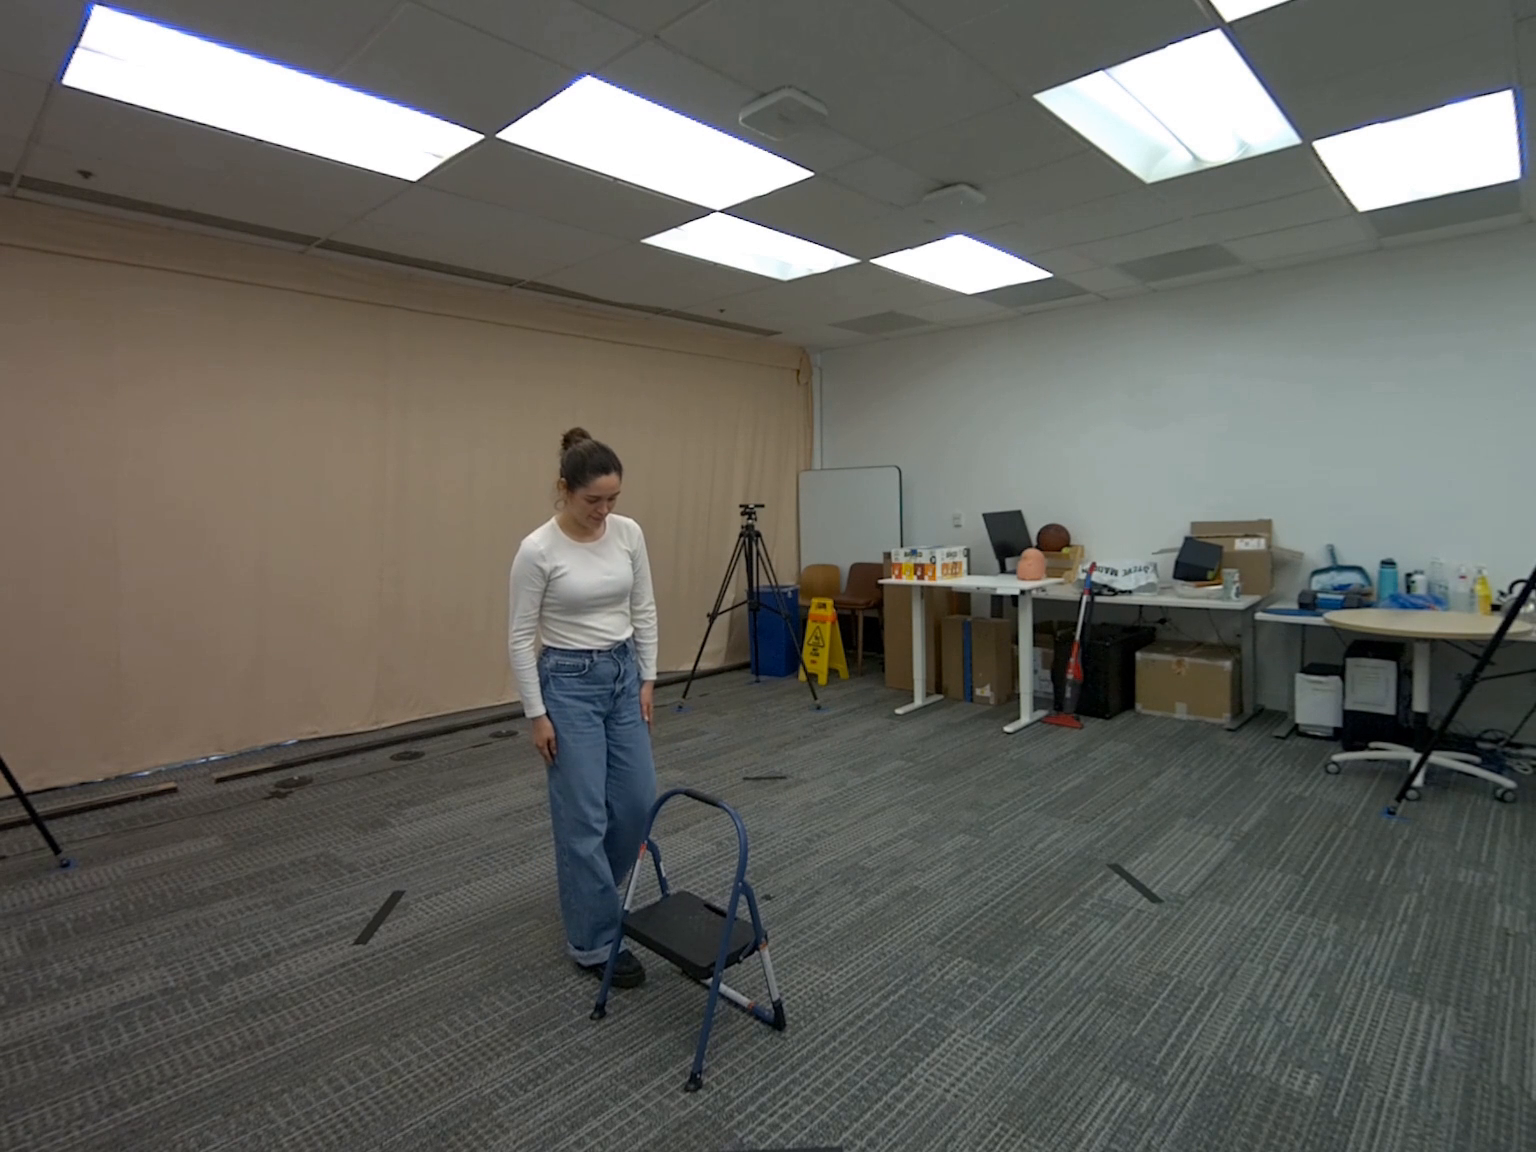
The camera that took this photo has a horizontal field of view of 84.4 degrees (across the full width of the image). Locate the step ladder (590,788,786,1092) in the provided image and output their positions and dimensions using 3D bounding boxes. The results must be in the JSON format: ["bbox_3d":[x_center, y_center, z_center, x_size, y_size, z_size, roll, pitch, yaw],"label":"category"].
[{"bbox_3d":[-0.214,0.905,2.247,0.445,0.604,0.339,3,5,45],"label":"step ladder"}]
